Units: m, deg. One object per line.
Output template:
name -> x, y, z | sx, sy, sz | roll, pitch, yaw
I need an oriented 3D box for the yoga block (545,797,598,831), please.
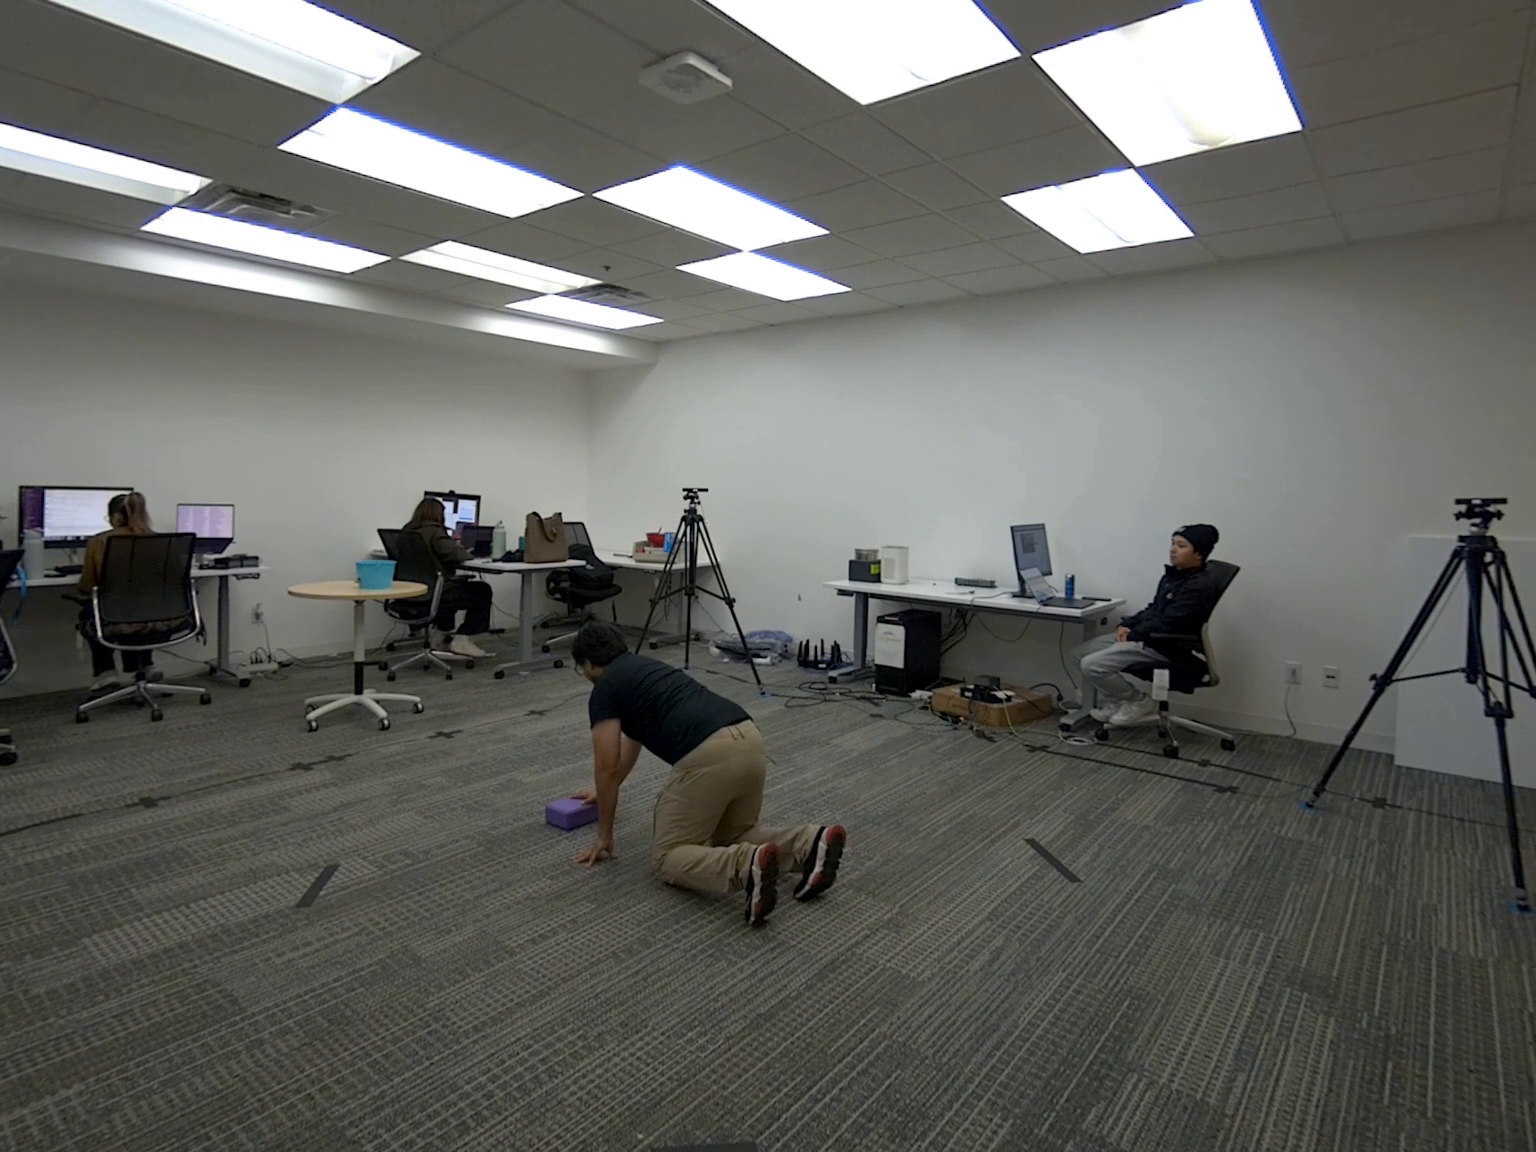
yoga block -> -0.811, 0.974, 3.558 | 0.154, 0.076, 0.222 | 4, 5, 37
